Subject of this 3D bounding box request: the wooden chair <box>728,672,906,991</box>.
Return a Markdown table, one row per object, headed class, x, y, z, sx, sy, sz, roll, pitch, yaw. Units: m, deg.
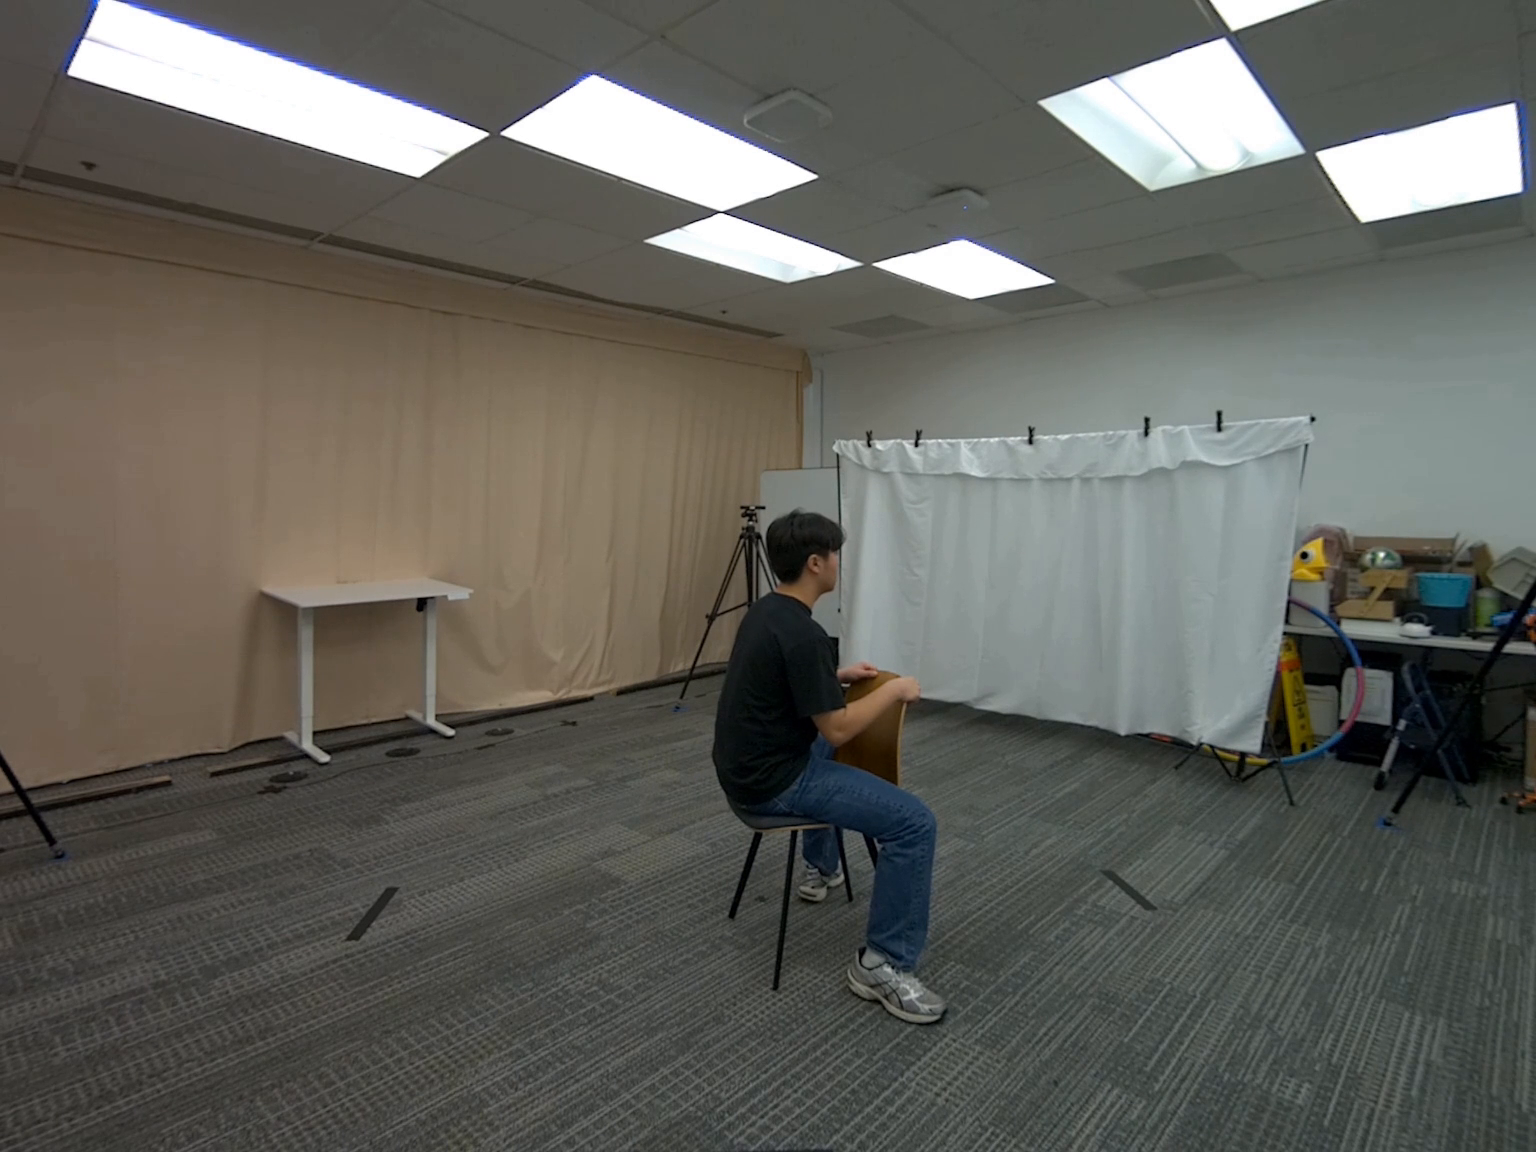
| class | x | y | z | sx | sy | sz | roll | pitch | yaw |
| --- | --- | --- | --- | --- | --- | --- | --- | --- | --- |
| wooden chair | 0.149 | 0.744 | 2.666 | 0.513 | 0.876 | 0.488 | 2 | 3 | -18 |
